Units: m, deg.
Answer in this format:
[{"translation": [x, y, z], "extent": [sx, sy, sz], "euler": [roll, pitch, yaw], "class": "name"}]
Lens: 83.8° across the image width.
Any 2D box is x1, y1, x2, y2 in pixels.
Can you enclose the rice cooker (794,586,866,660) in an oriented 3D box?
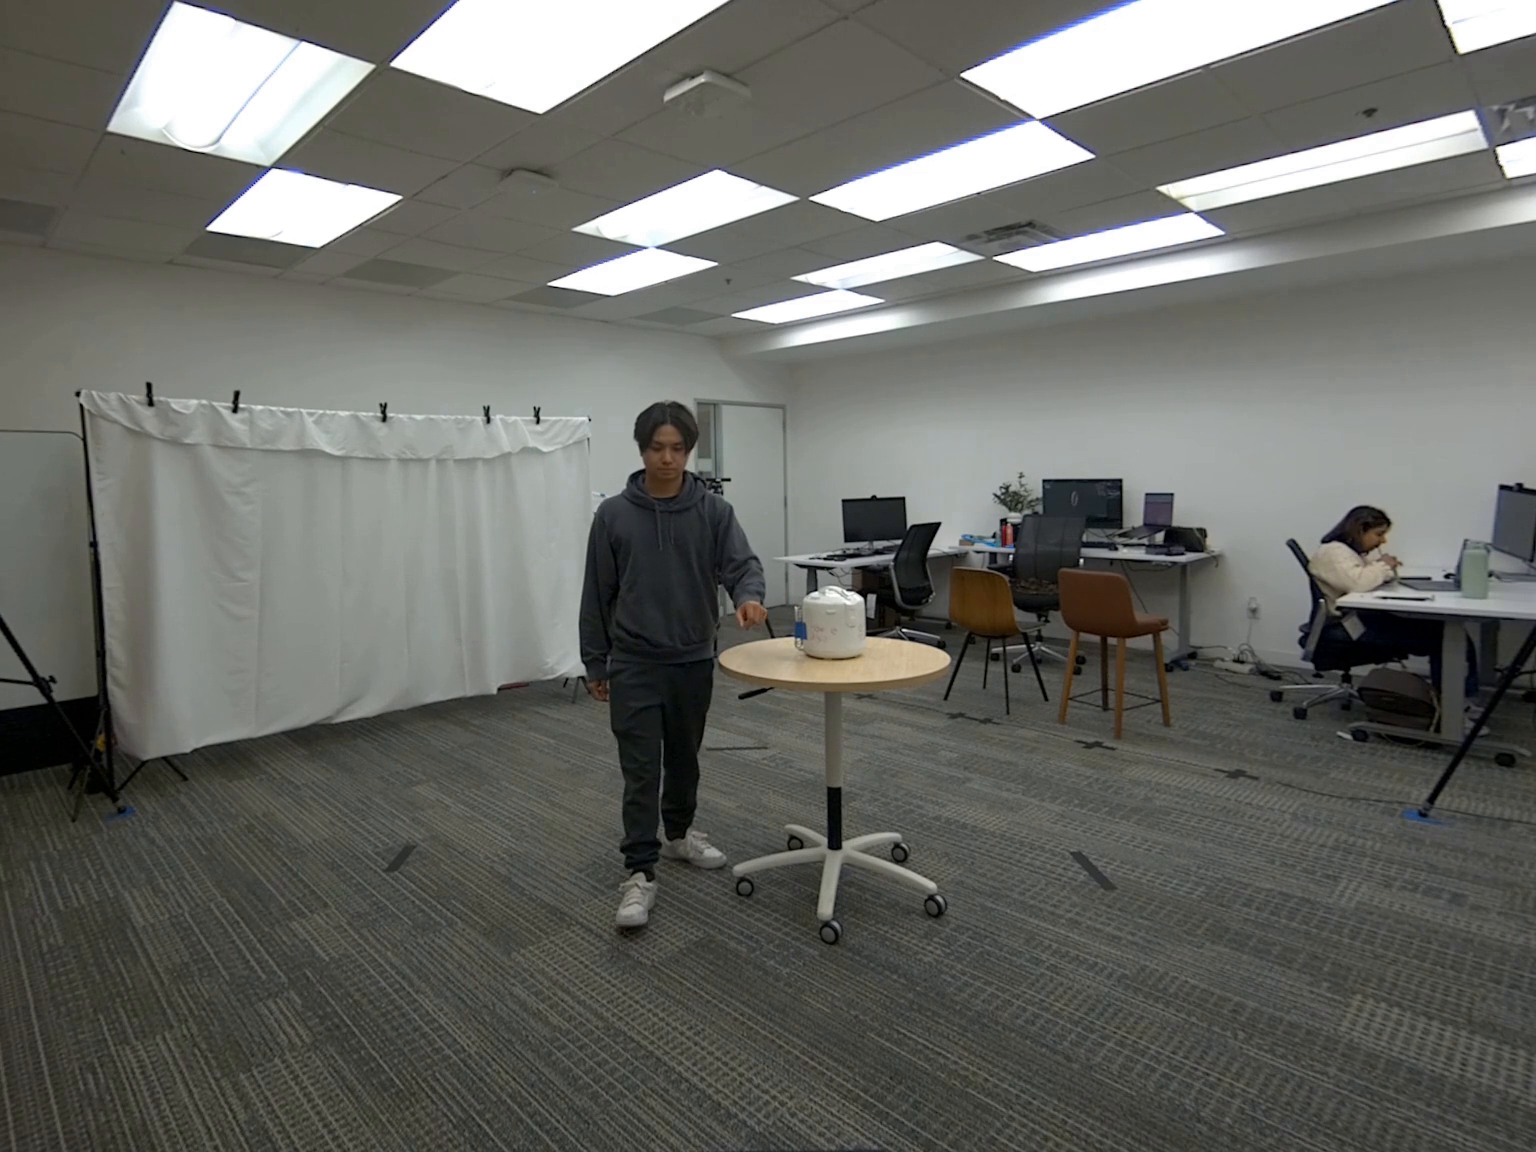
[{"translation": [0.219, 0.150, 2.872], "extent": [0.213, 0.231, 0.227], "euler": [-5, 7, -28], "class": "rice cooker"}]
